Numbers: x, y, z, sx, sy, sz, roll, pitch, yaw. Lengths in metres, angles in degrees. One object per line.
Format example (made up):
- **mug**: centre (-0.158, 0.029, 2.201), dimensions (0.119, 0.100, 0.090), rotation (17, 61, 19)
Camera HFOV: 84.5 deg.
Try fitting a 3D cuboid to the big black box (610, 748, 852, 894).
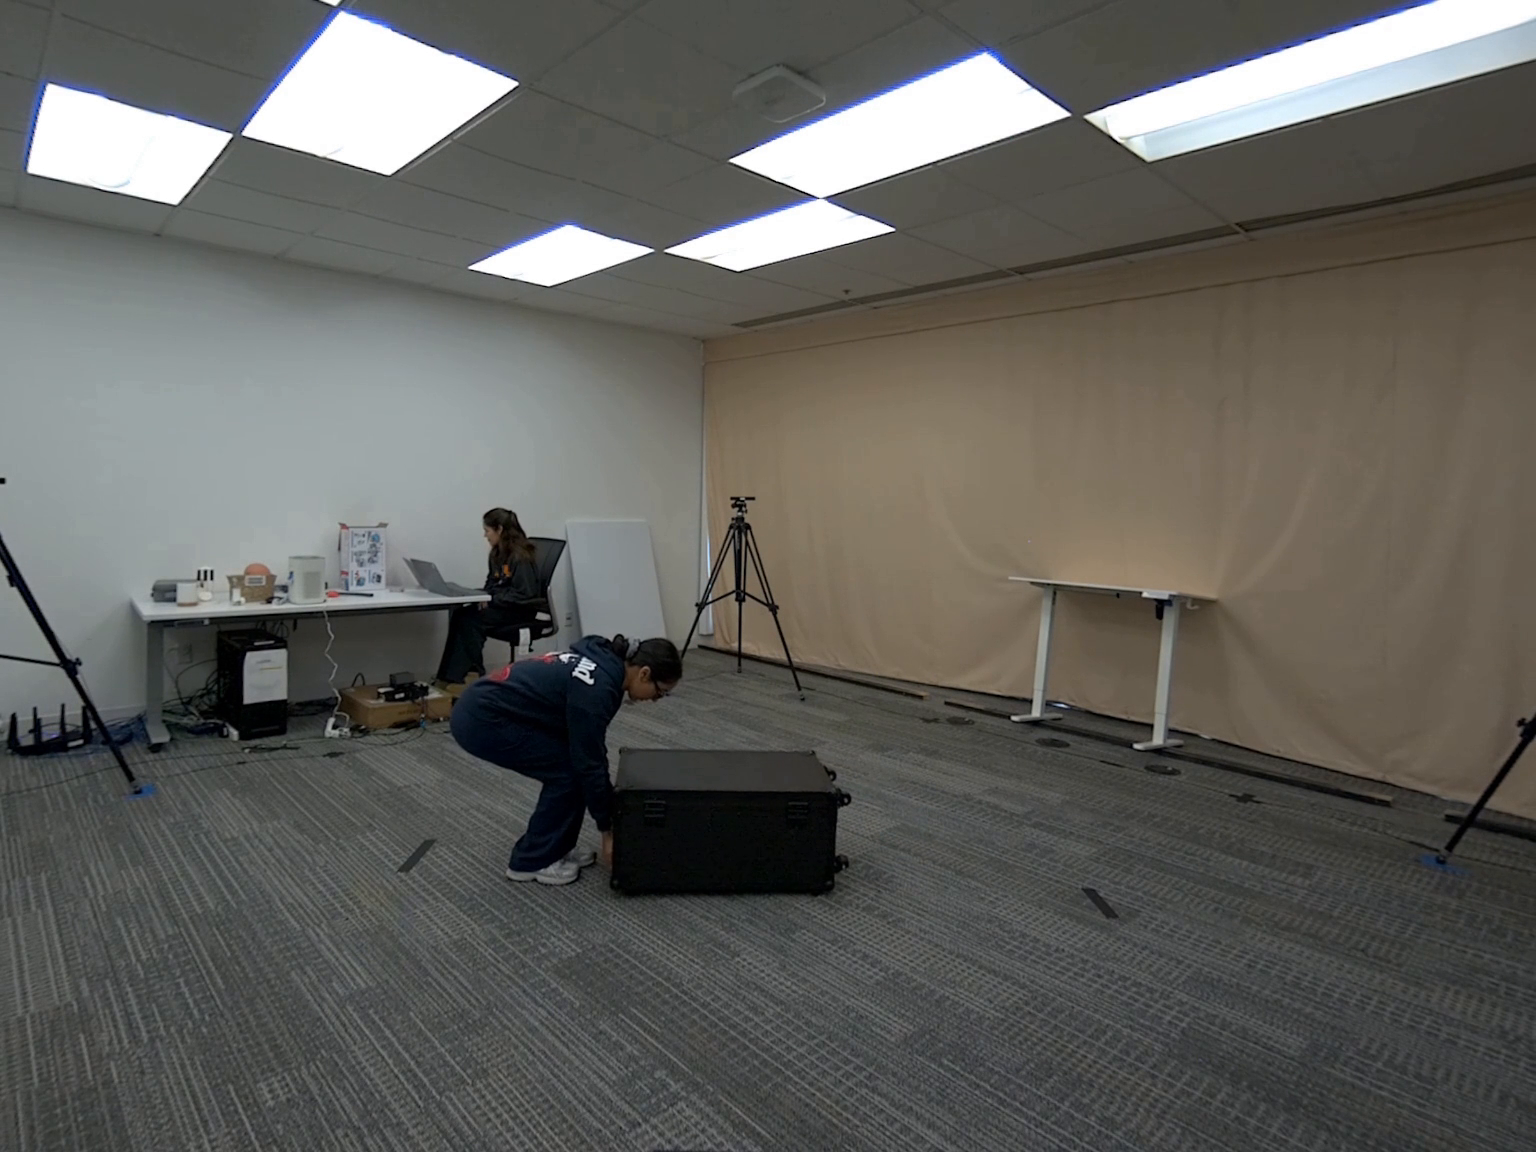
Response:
- **big black box**: centre (-0.147, 0.897, 3.156), dimensions (0.857, 0.395, 0.525), rotation (0, 4, -6)
